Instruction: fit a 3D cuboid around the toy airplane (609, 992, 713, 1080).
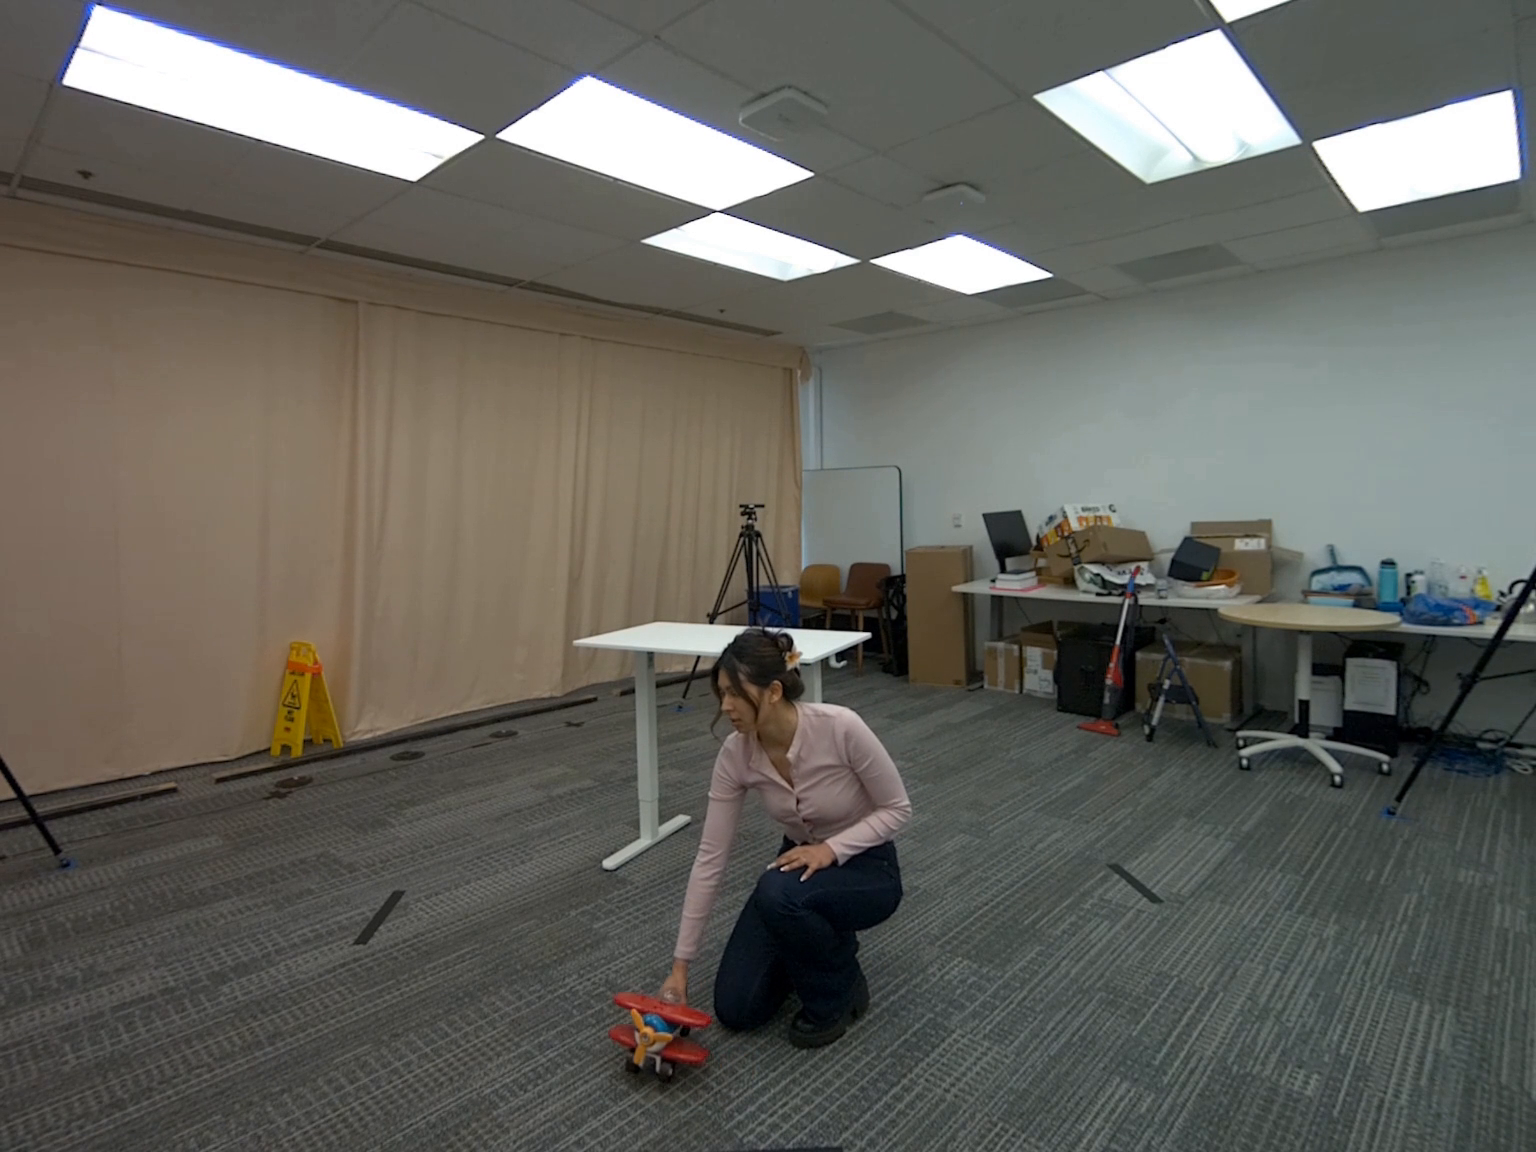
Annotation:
[{"bbox_3d":[-0.268,1.137,2.102,0.249,0.156,0.262,4,4,-10],"label":"toy airplane"}]
